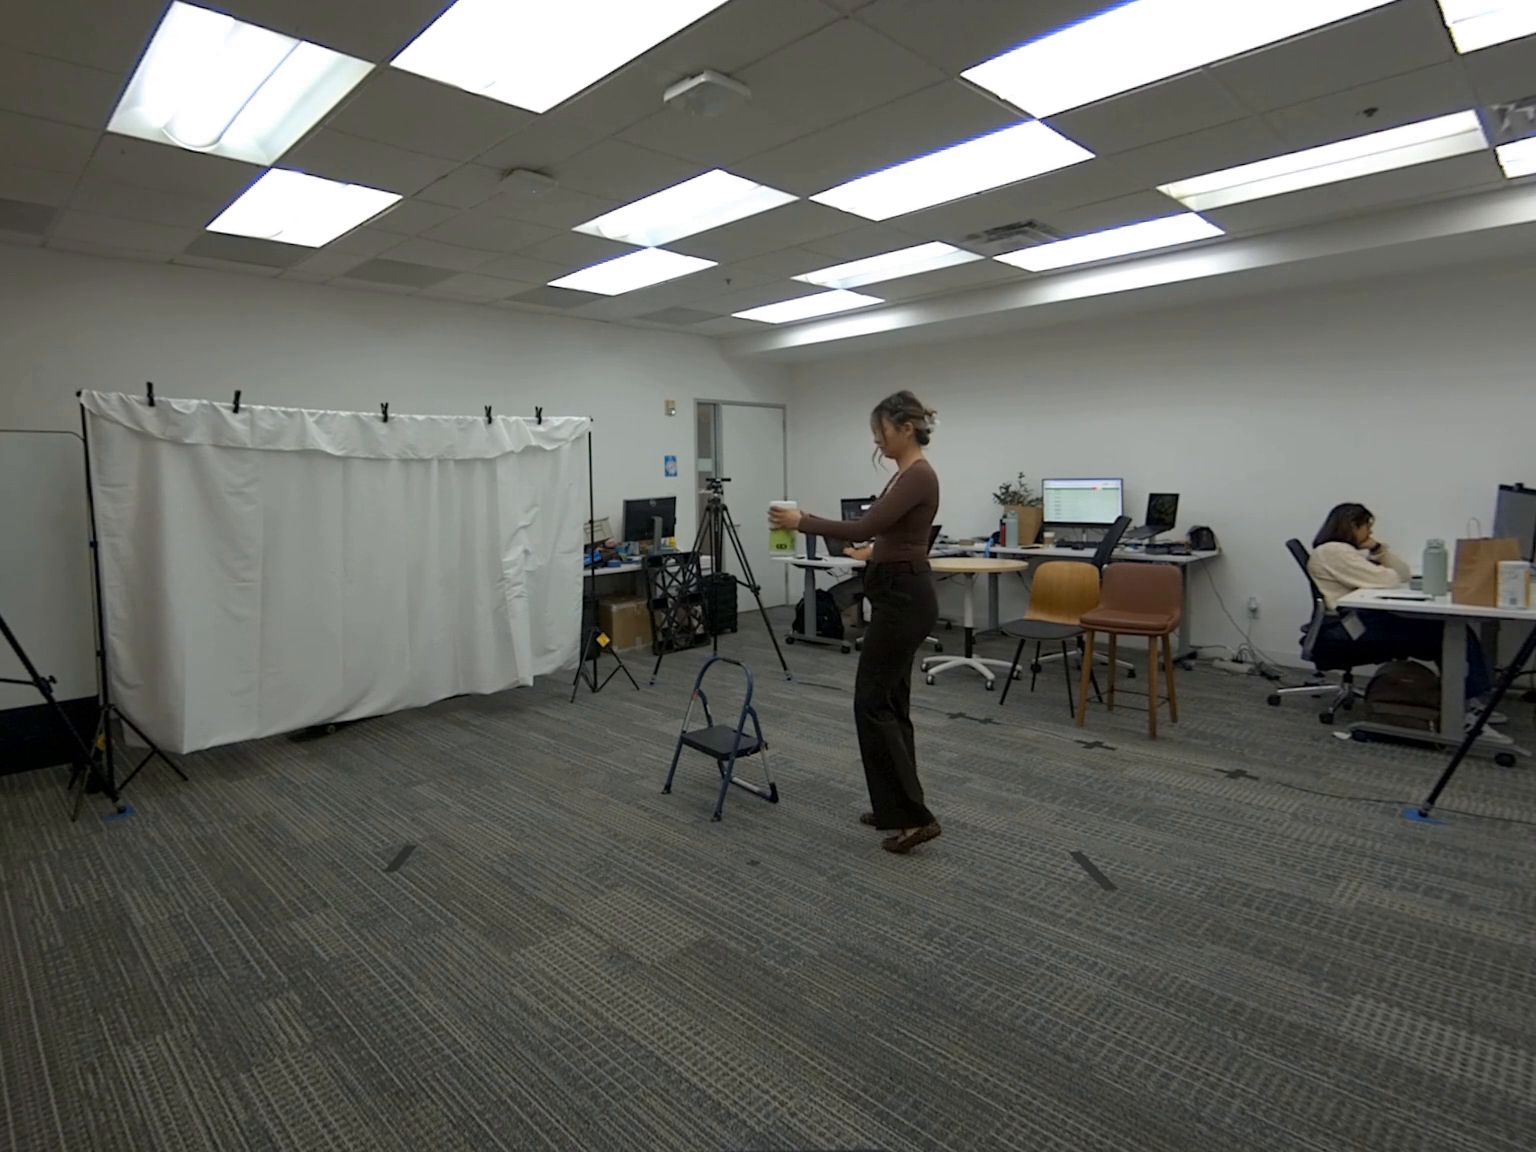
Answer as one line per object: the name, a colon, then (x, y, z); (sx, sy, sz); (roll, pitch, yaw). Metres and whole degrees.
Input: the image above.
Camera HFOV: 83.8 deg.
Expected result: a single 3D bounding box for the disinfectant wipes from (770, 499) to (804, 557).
disinfectant wipes: (0.071, -0.189, 3.350); (0.118, 0.217, 0.118); (1, 2, -2)
